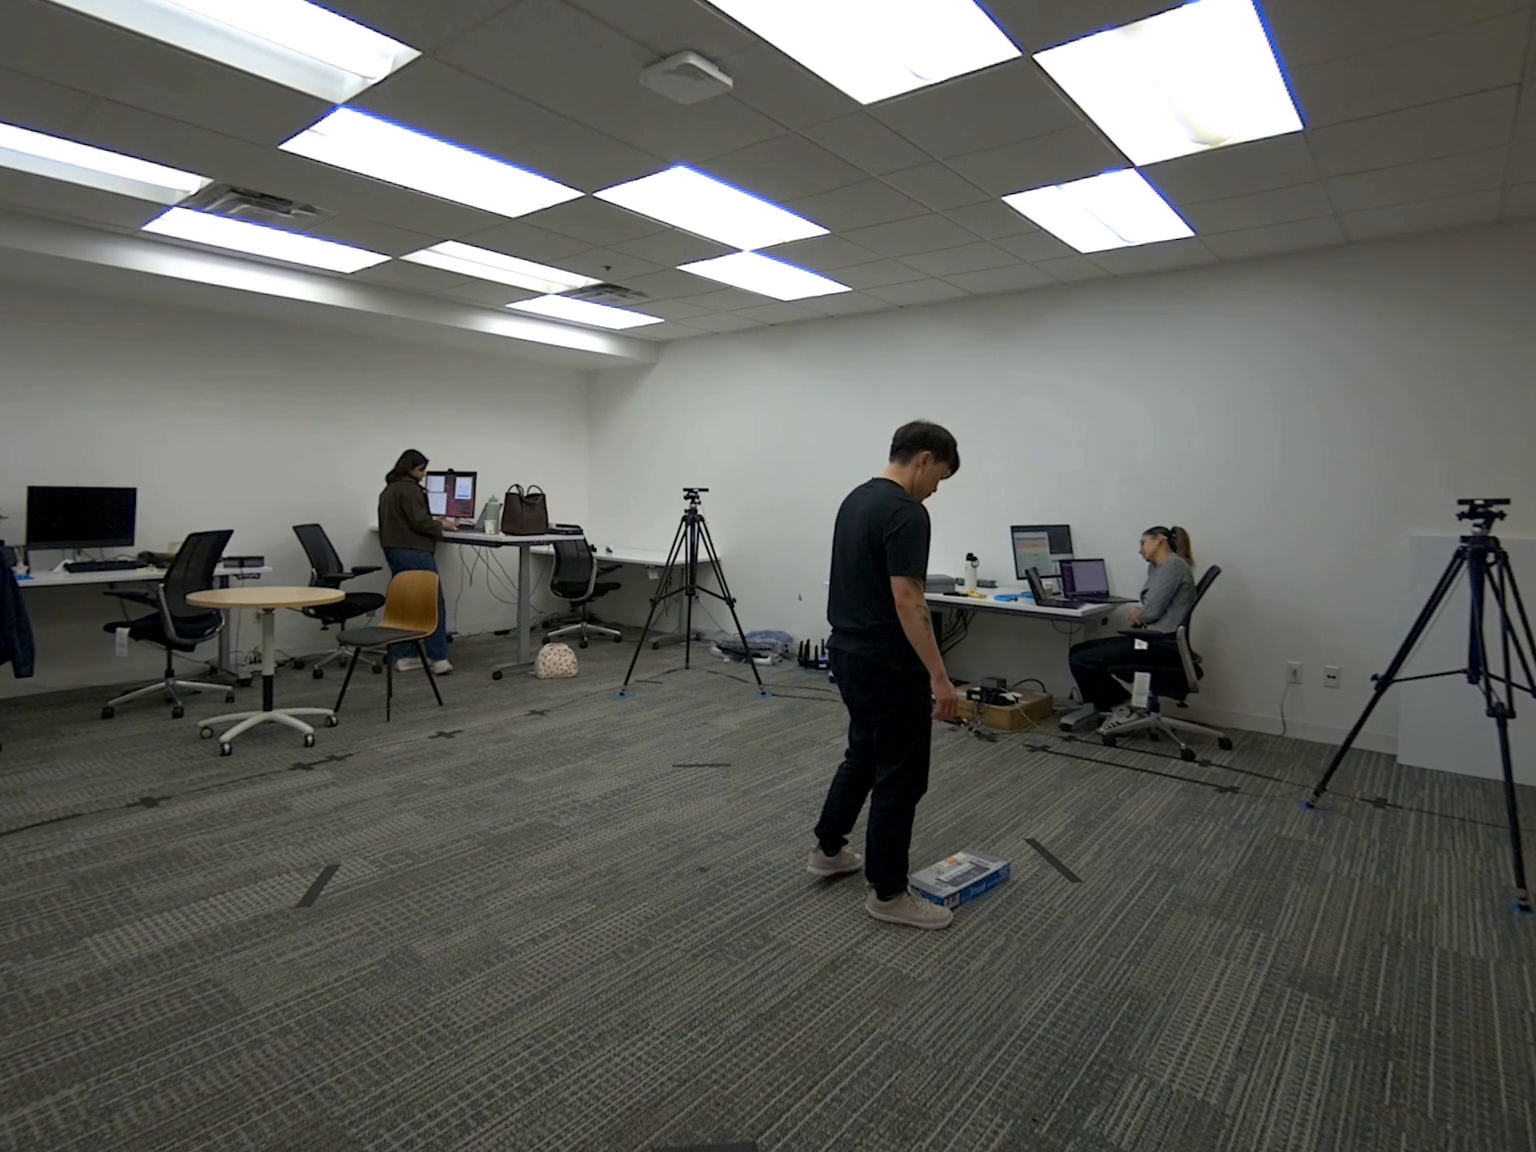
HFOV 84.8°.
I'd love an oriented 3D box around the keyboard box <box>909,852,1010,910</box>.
[{"bbox_3d":[0.664,1.072,3.017,0.424,0.059,0.182,-4,8,-43],"label":"keyboard box"}]
